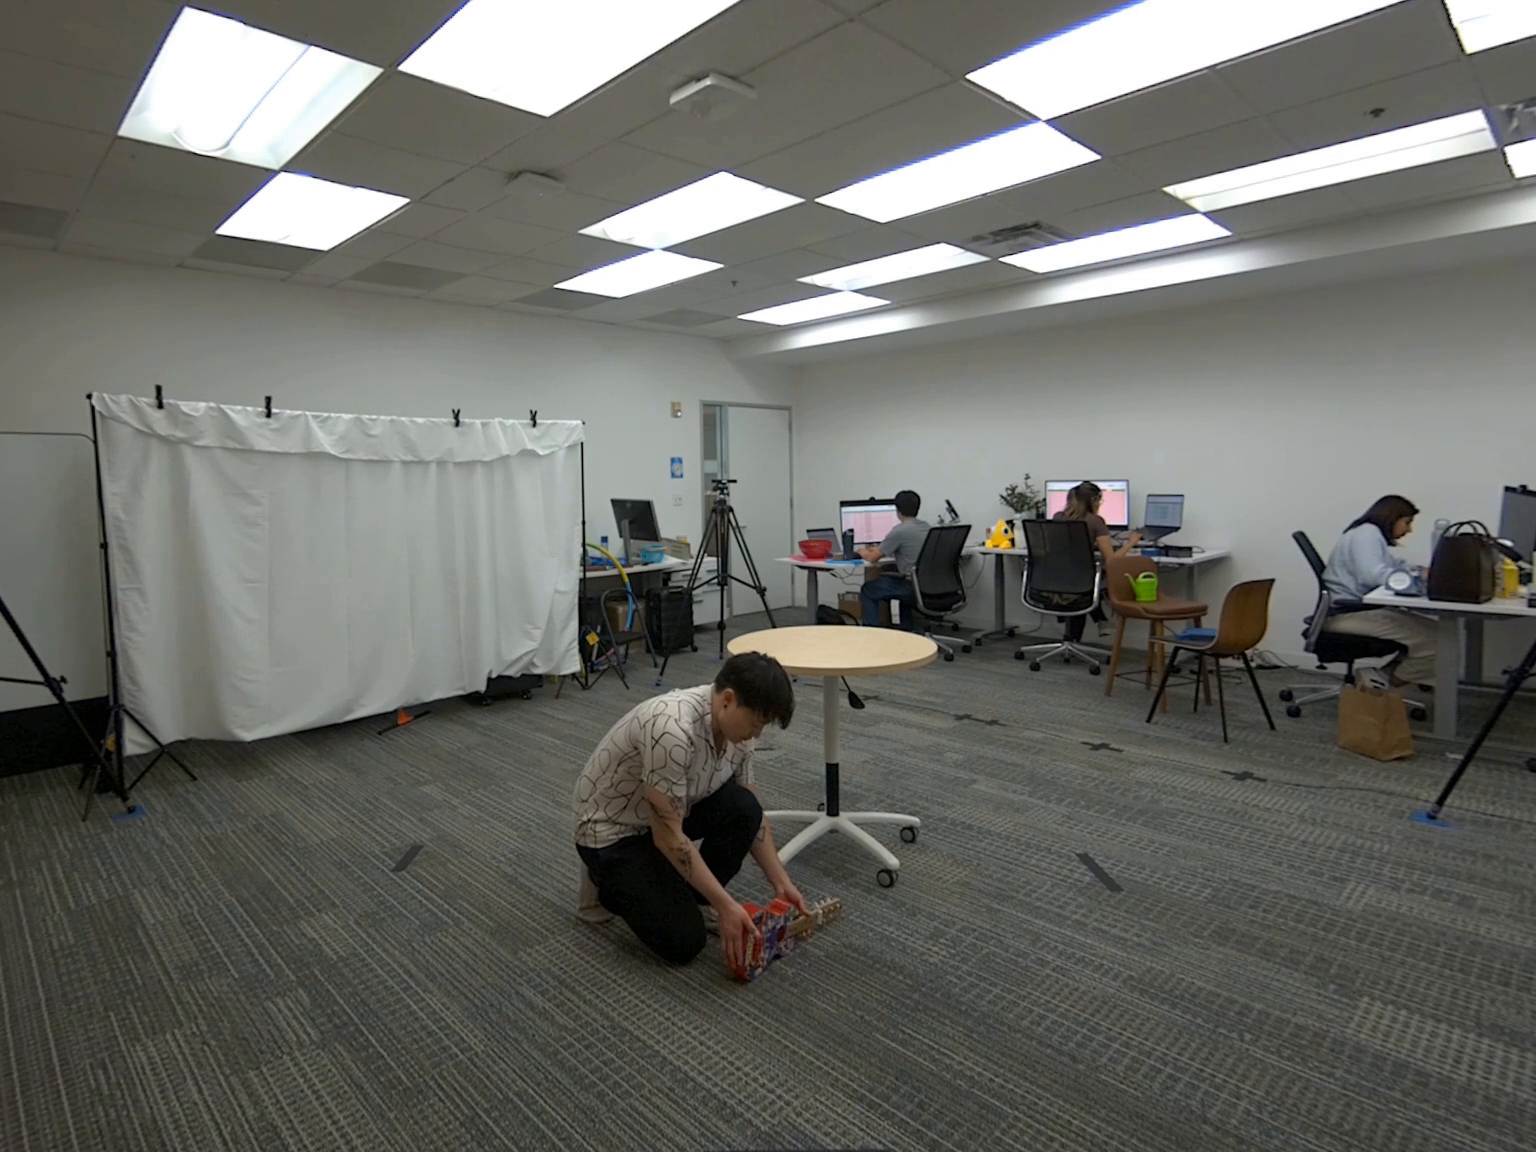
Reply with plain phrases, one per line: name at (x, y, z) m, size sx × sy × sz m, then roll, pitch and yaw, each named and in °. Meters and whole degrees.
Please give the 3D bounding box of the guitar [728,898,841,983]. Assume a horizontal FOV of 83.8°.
guitar at (0.052, 1.067, 2.547) m, size 0.073 × 0.194 × 0.480 m, roll 5°, pitch -9°, yaw 39°
